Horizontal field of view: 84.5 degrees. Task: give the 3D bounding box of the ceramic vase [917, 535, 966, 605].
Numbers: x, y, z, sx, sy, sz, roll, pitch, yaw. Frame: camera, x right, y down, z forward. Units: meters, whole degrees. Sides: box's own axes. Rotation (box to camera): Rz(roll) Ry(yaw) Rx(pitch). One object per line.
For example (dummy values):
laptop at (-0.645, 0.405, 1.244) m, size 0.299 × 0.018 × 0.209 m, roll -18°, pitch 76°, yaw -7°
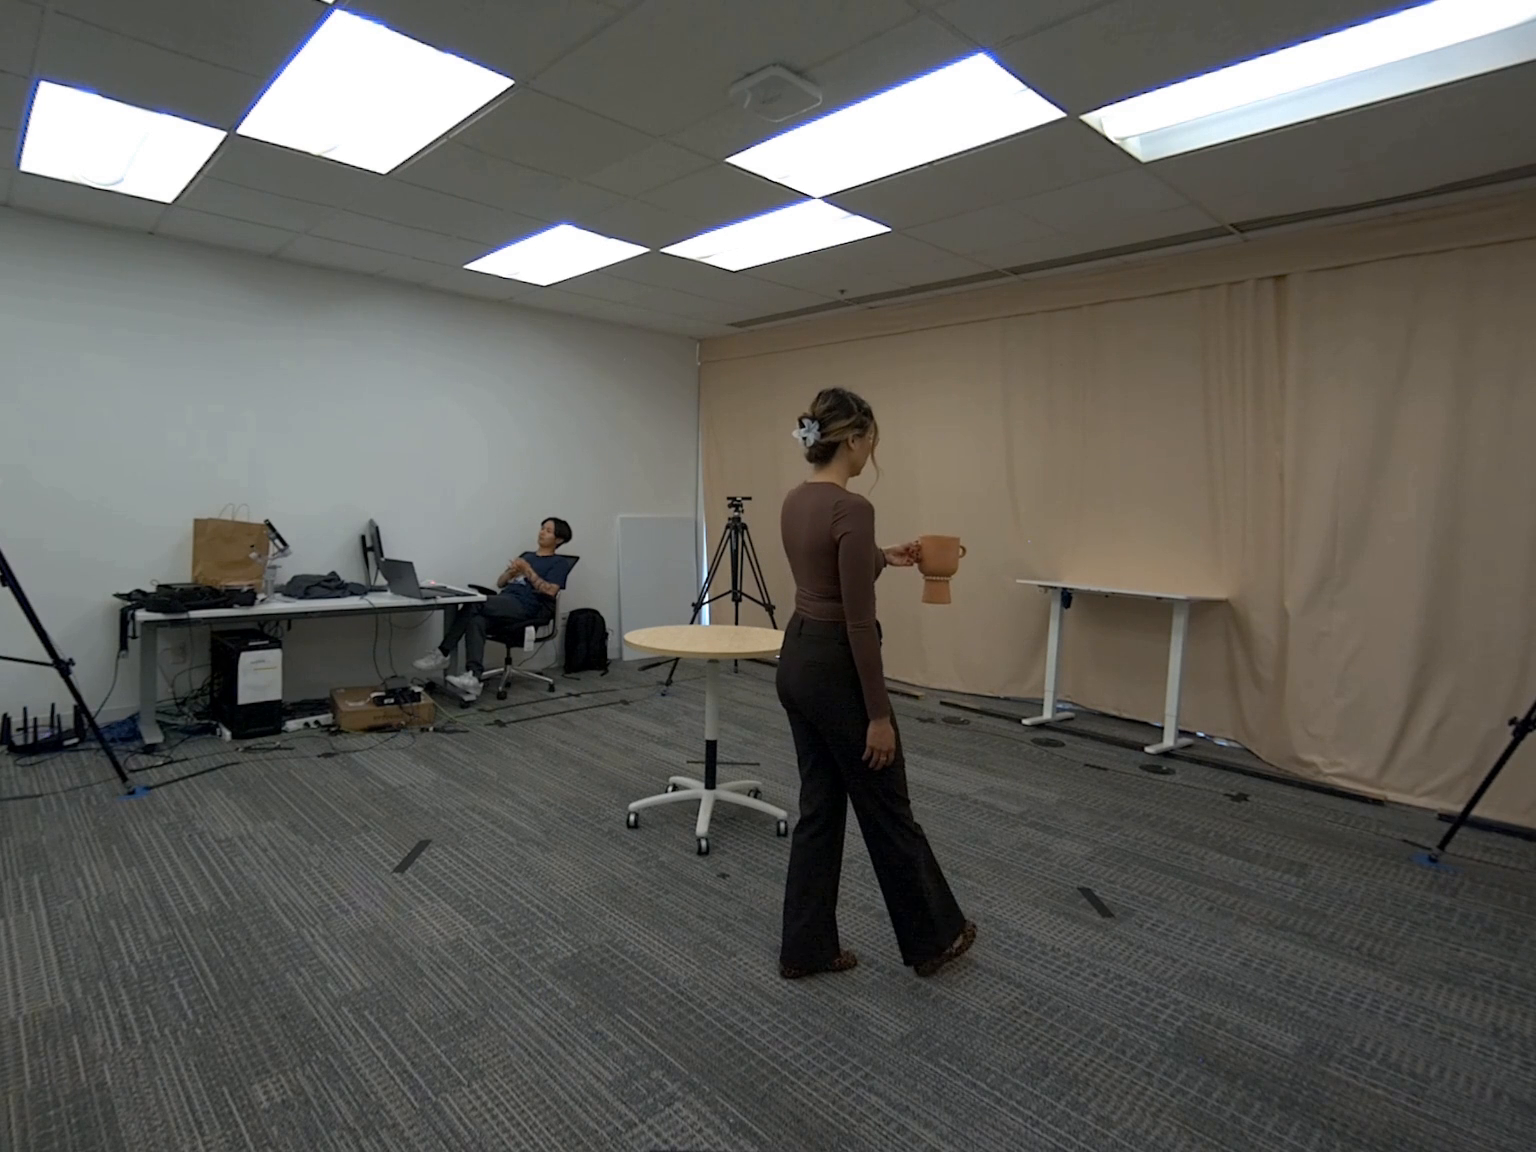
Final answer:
ceramic vase at (0.560, -0.022, 2.772) m, size 0.162 × 0.219 × 0.132 m, roll 3°, pitch 3°, yaw 25°
